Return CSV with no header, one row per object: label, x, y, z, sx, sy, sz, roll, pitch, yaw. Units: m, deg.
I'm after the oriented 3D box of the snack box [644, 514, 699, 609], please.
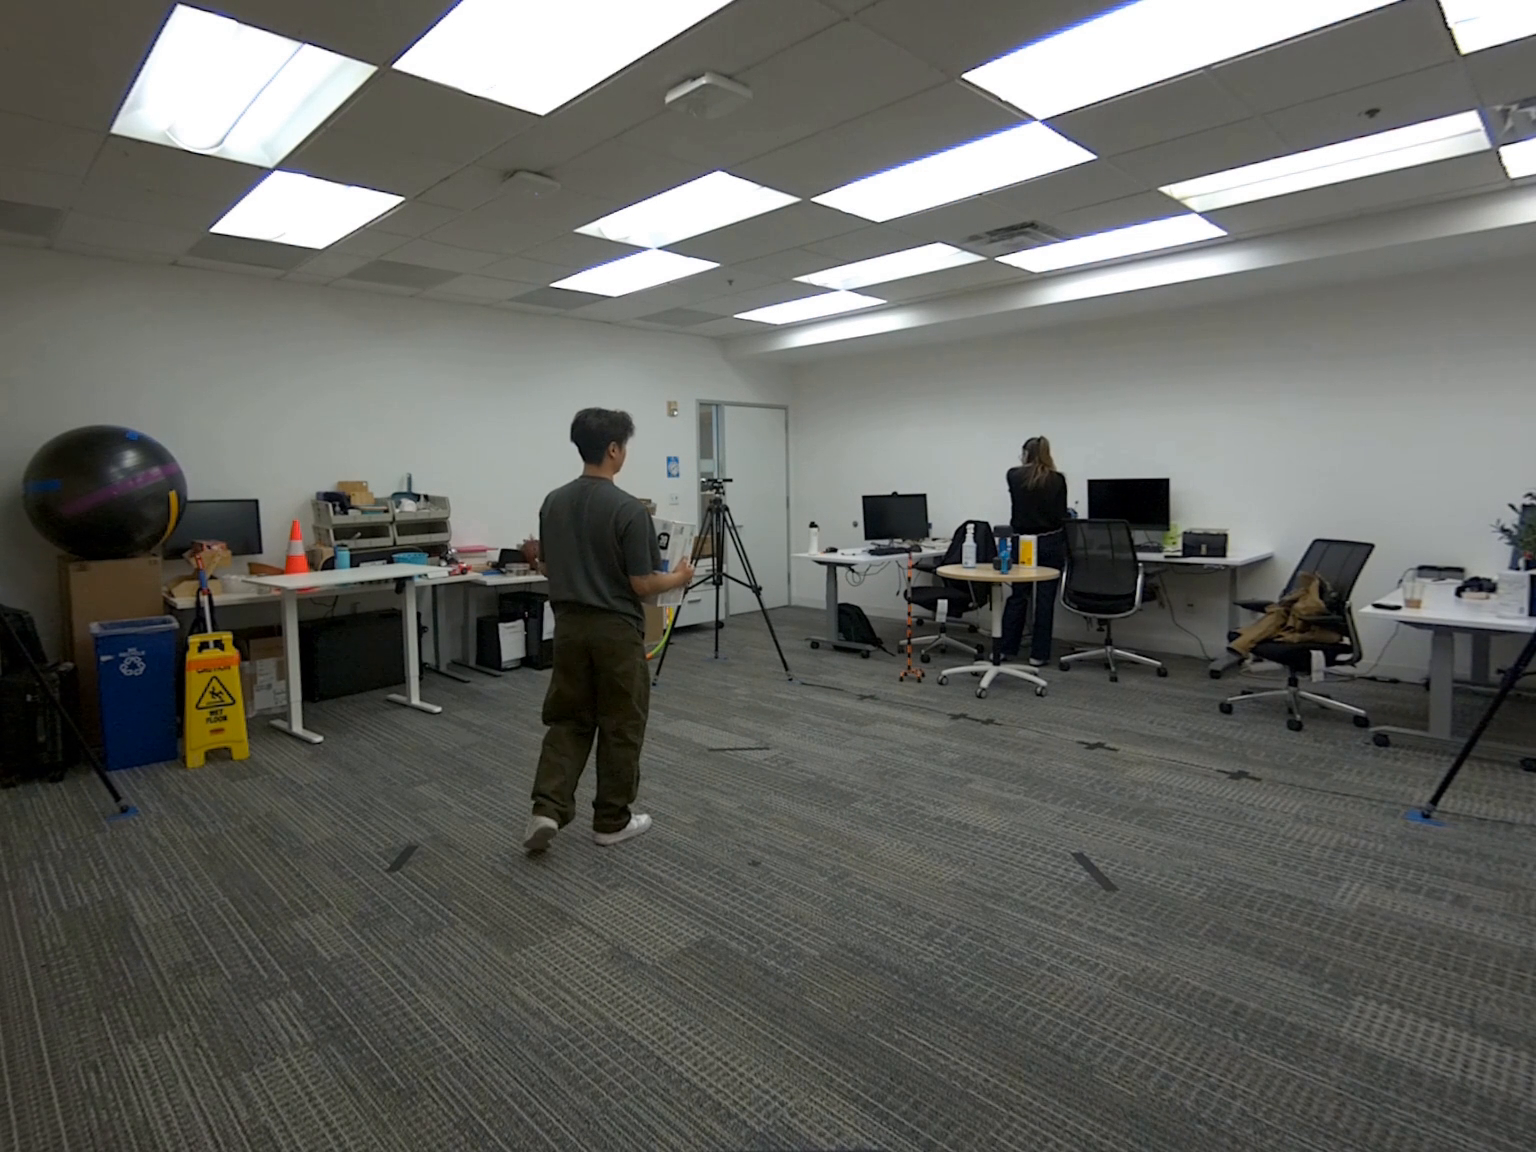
snack box,-0.539,-0.087,3.492,0.416,0.339,0.201,13,4,25
